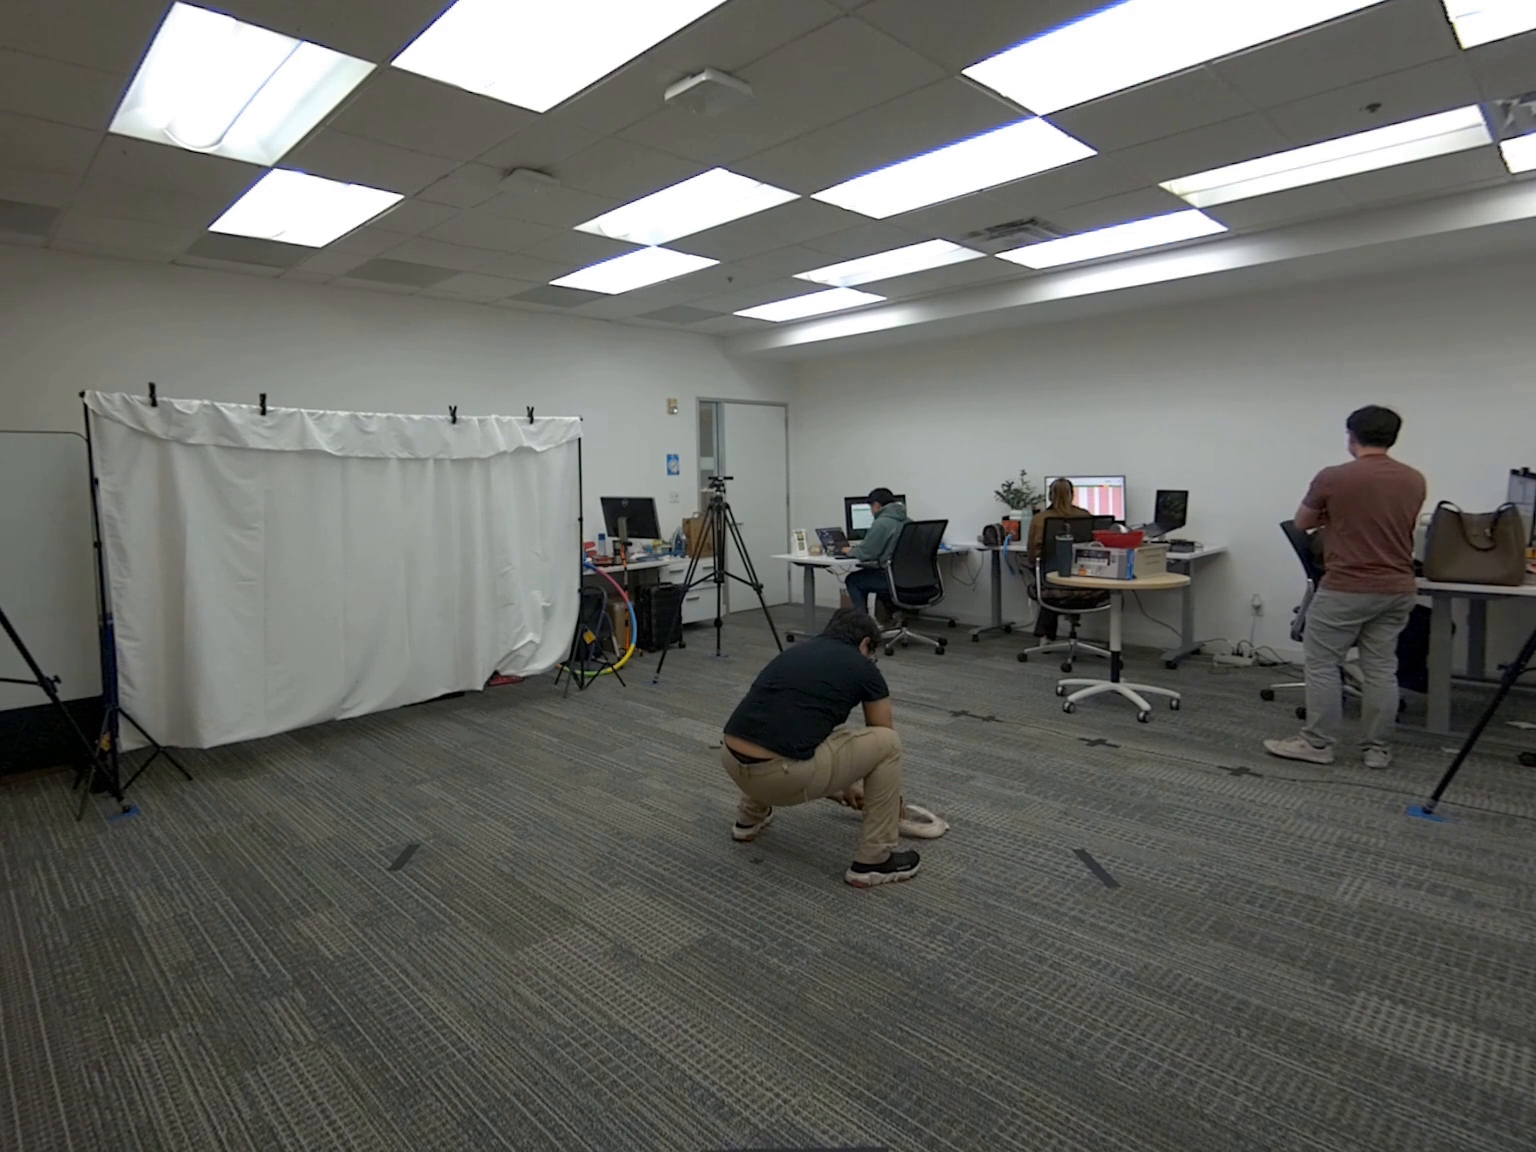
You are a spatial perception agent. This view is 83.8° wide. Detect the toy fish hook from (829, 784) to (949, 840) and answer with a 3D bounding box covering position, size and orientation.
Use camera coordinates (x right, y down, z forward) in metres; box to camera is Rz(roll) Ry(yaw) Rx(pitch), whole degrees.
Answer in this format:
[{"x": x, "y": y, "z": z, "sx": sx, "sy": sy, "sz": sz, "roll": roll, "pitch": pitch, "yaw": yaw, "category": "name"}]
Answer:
[{"x": 0.475, "y": 0.941, "z": 3.446, "sx": 0.523, "sy": 0.048, "sz": 0.218, "roll": 13, "pitch": 8, "yaw": 33, "category": "toy fish hook"}]
